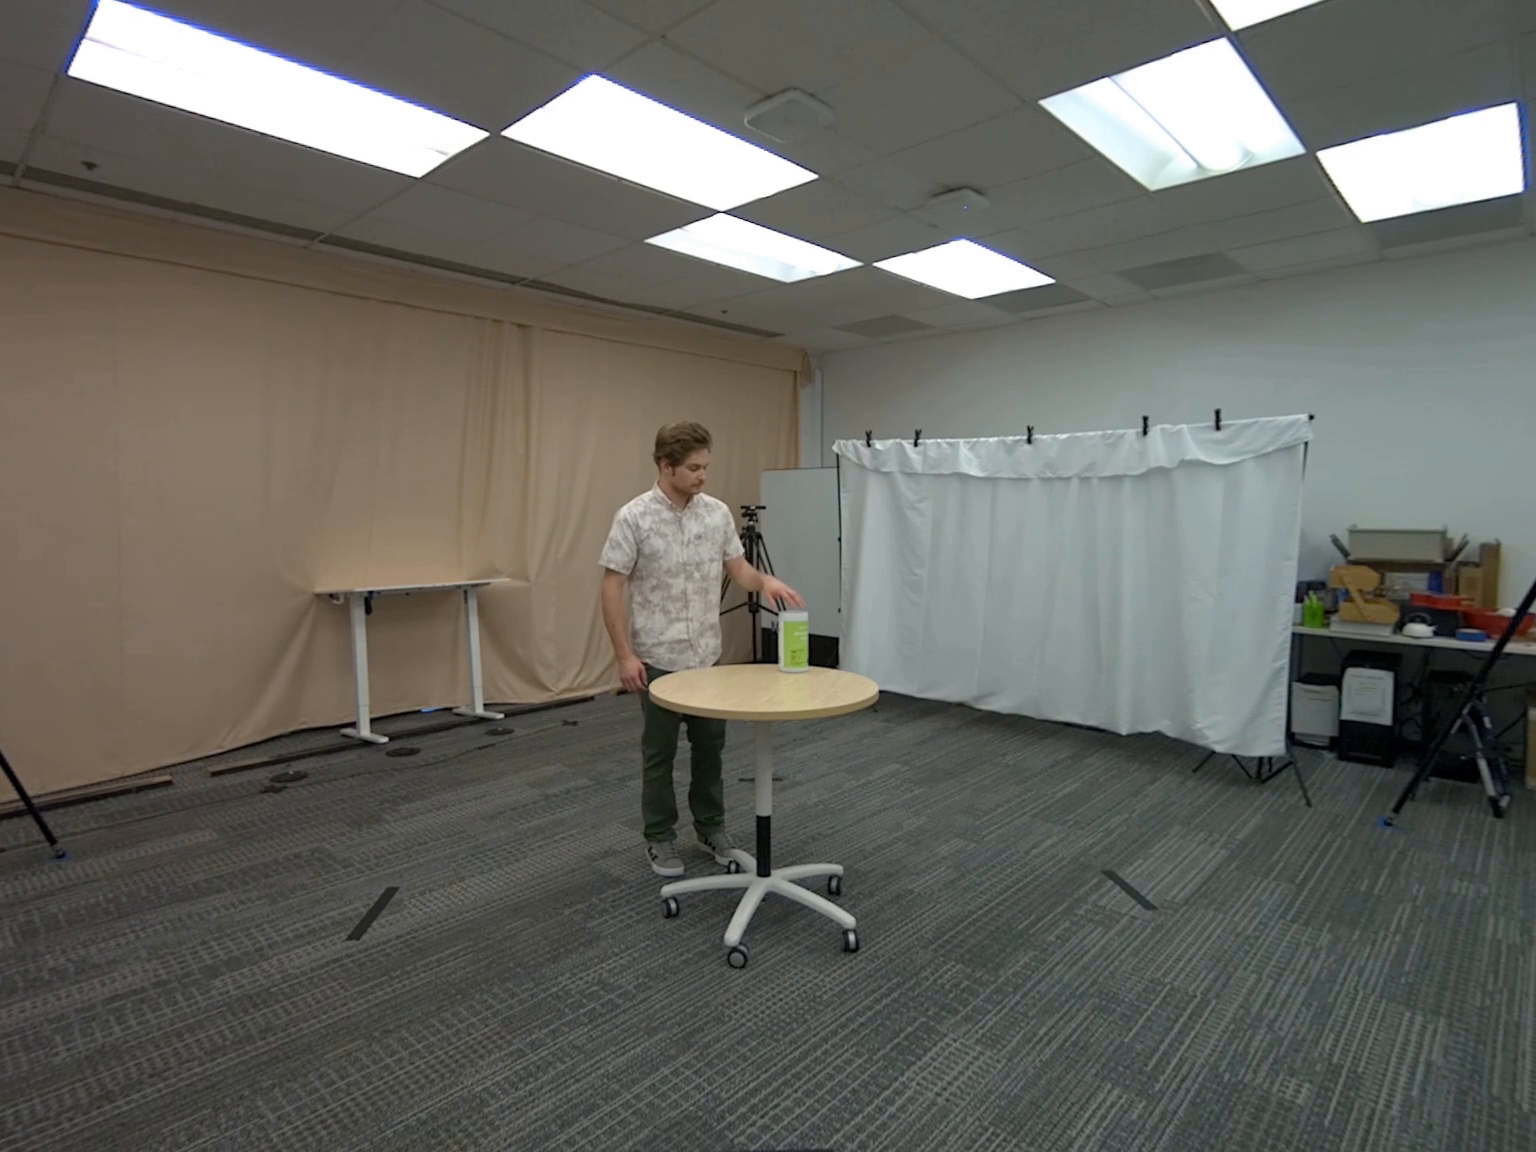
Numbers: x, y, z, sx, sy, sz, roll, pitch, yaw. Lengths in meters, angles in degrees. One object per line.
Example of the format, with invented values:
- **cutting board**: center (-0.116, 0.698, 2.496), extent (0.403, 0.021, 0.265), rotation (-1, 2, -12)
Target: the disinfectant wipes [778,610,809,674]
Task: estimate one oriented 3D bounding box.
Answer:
- **disinfectant wipes**: center (0.096, 0.241, 3.071), extent (0.118, 0.217, 0.118), rotation (0, 3, -2)
